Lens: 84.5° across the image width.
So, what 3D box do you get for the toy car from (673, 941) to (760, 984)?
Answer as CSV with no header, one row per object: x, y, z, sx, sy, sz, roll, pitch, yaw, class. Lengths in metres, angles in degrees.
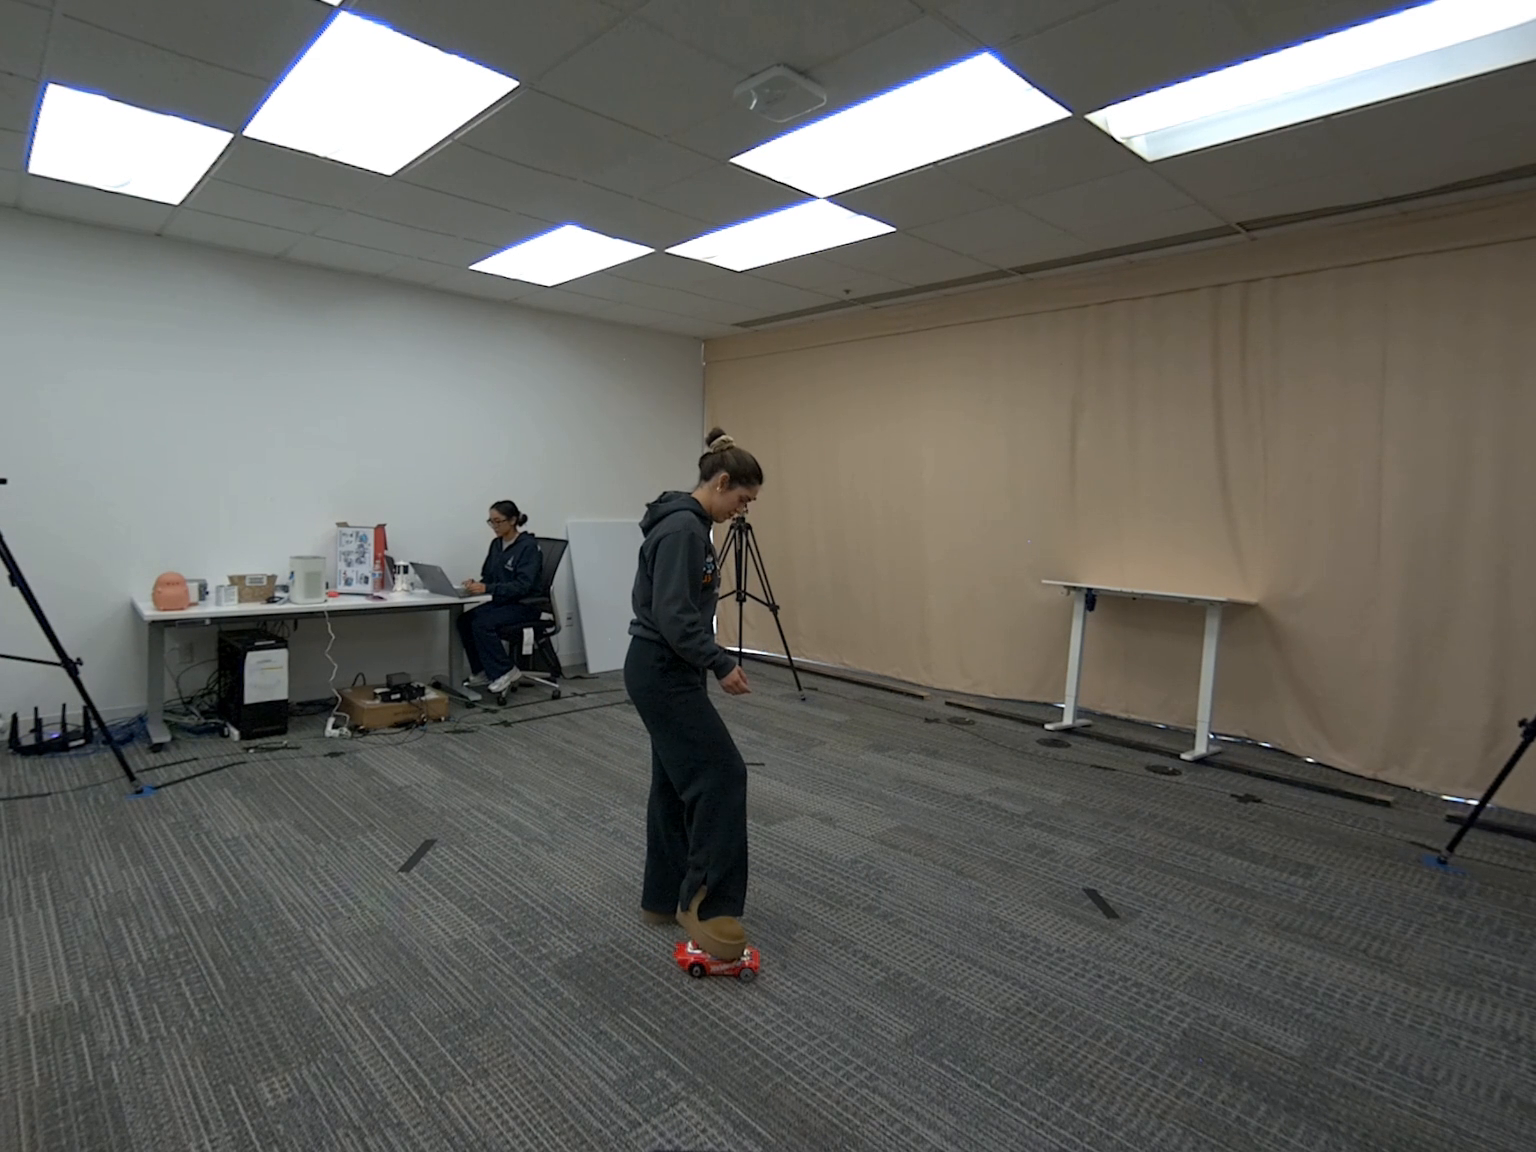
-0.158,1.142,2.490,0.254,0.083,0.131,12,4,-2,toy car
